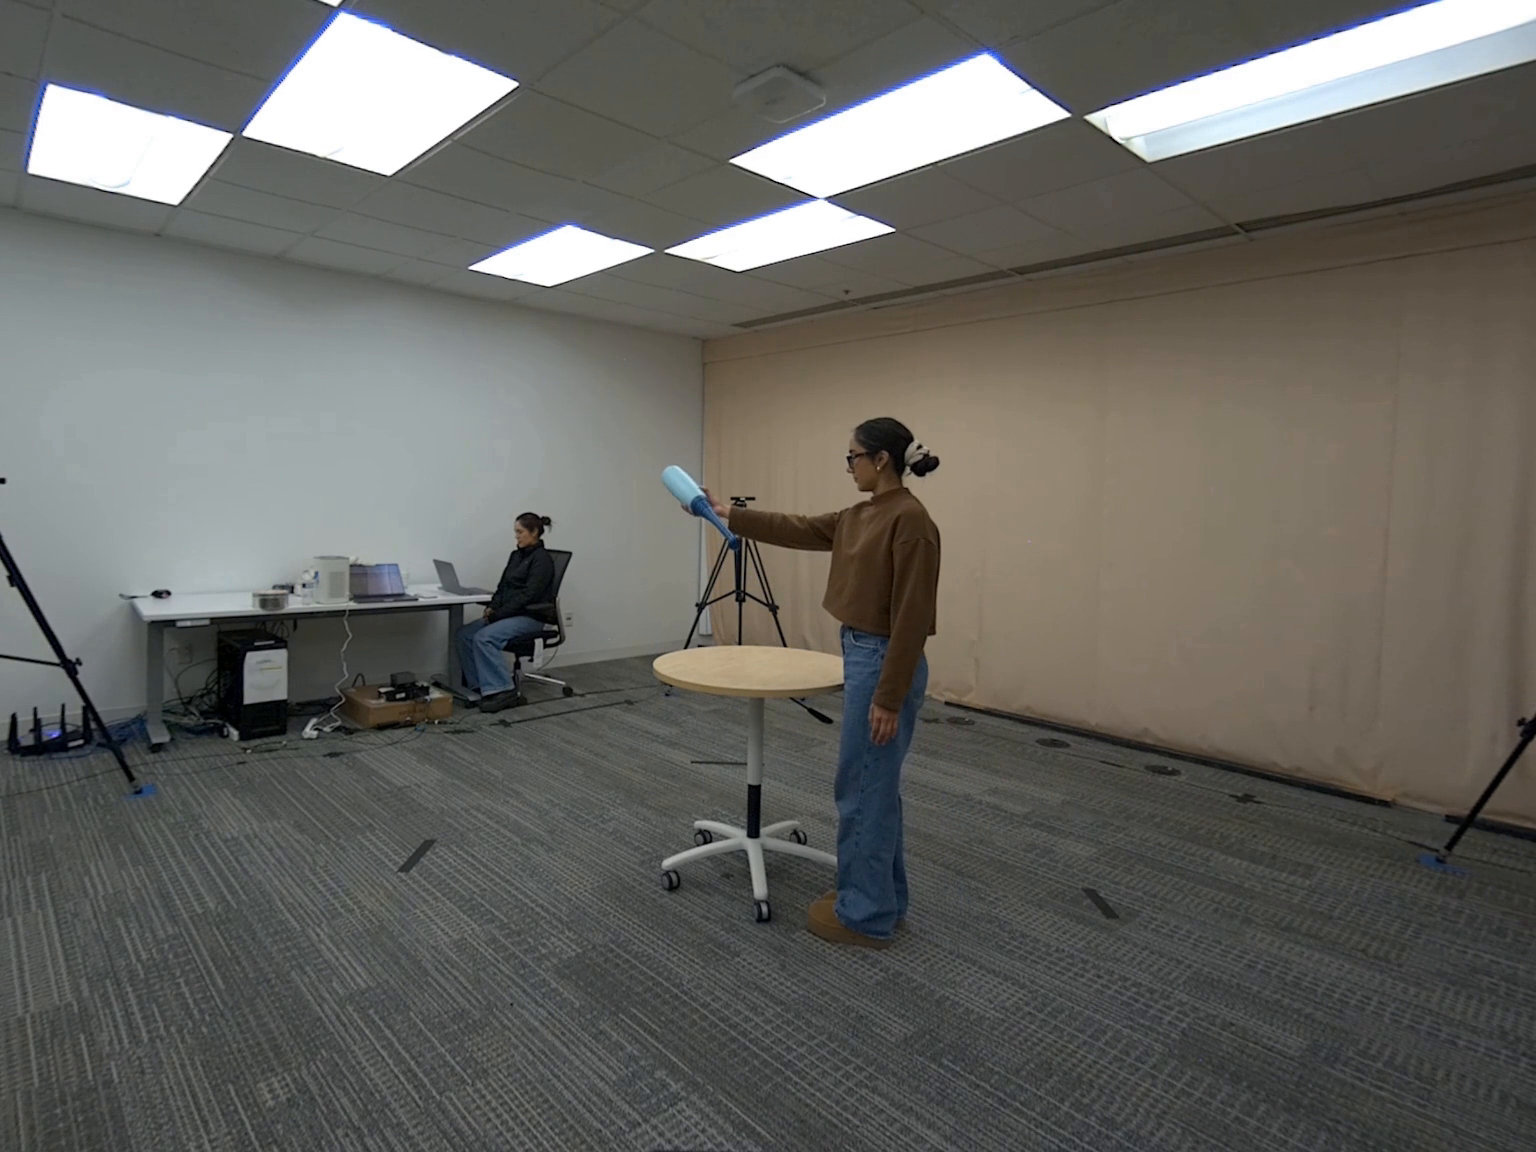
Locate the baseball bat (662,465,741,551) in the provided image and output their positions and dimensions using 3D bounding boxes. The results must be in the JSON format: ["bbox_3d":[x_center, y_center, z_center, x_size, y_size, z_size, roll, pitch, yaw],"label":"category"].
[{"bbox_3d":[-0.232,-0.243,2.905,0.087,0.088,0.561,-2,28,-34],"label":"baseball bat"}]
